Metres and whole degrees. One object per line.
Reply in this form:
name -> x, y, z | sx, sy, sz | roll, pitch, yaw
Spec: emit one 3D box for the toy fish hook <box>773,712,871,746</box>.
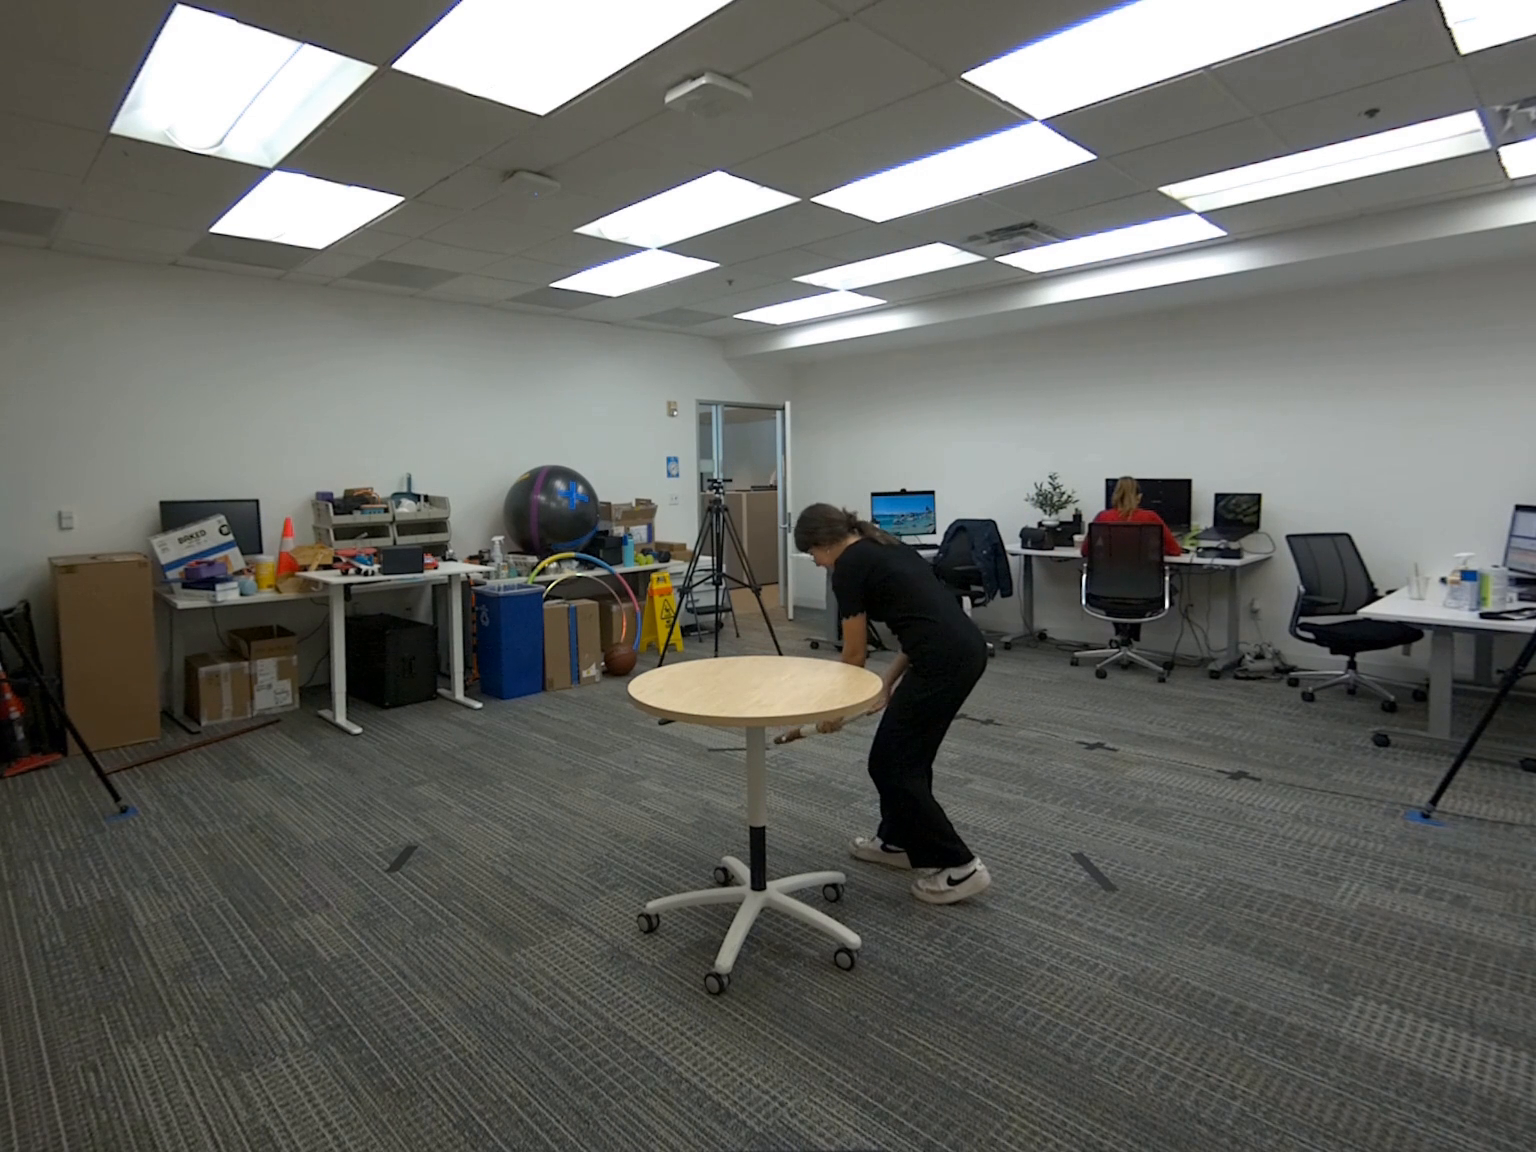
toy fish hook -> 0.196, 0.585, 3.274 | 0.219, 0.049, 0.511 | -6, -15, -33
